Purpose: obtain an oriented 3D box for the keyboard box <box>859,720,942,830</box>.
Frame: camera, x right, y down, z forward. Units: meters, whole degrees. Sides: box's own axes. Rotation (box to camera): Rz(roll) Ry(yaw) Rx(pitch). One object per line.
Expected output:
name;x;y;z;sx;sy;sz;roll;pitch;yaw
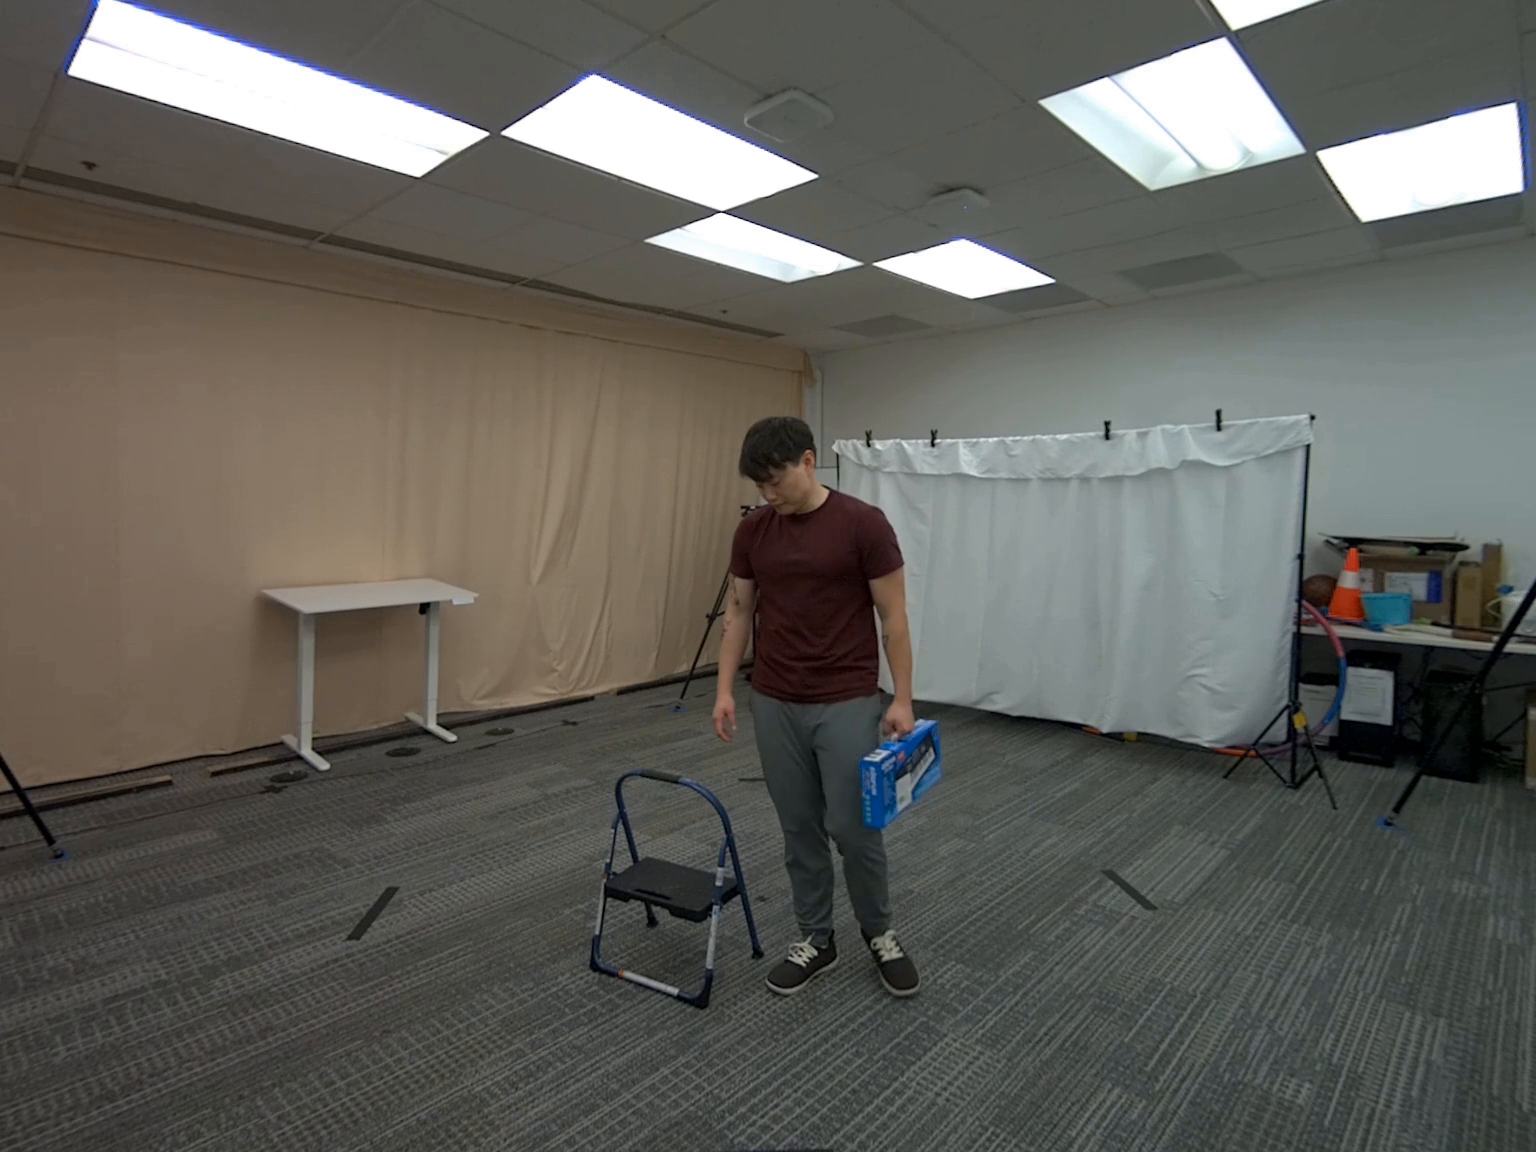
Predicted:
keyboard box;0.375;0.537;2.324;0.061;0.175;0.425;-2;5;32
